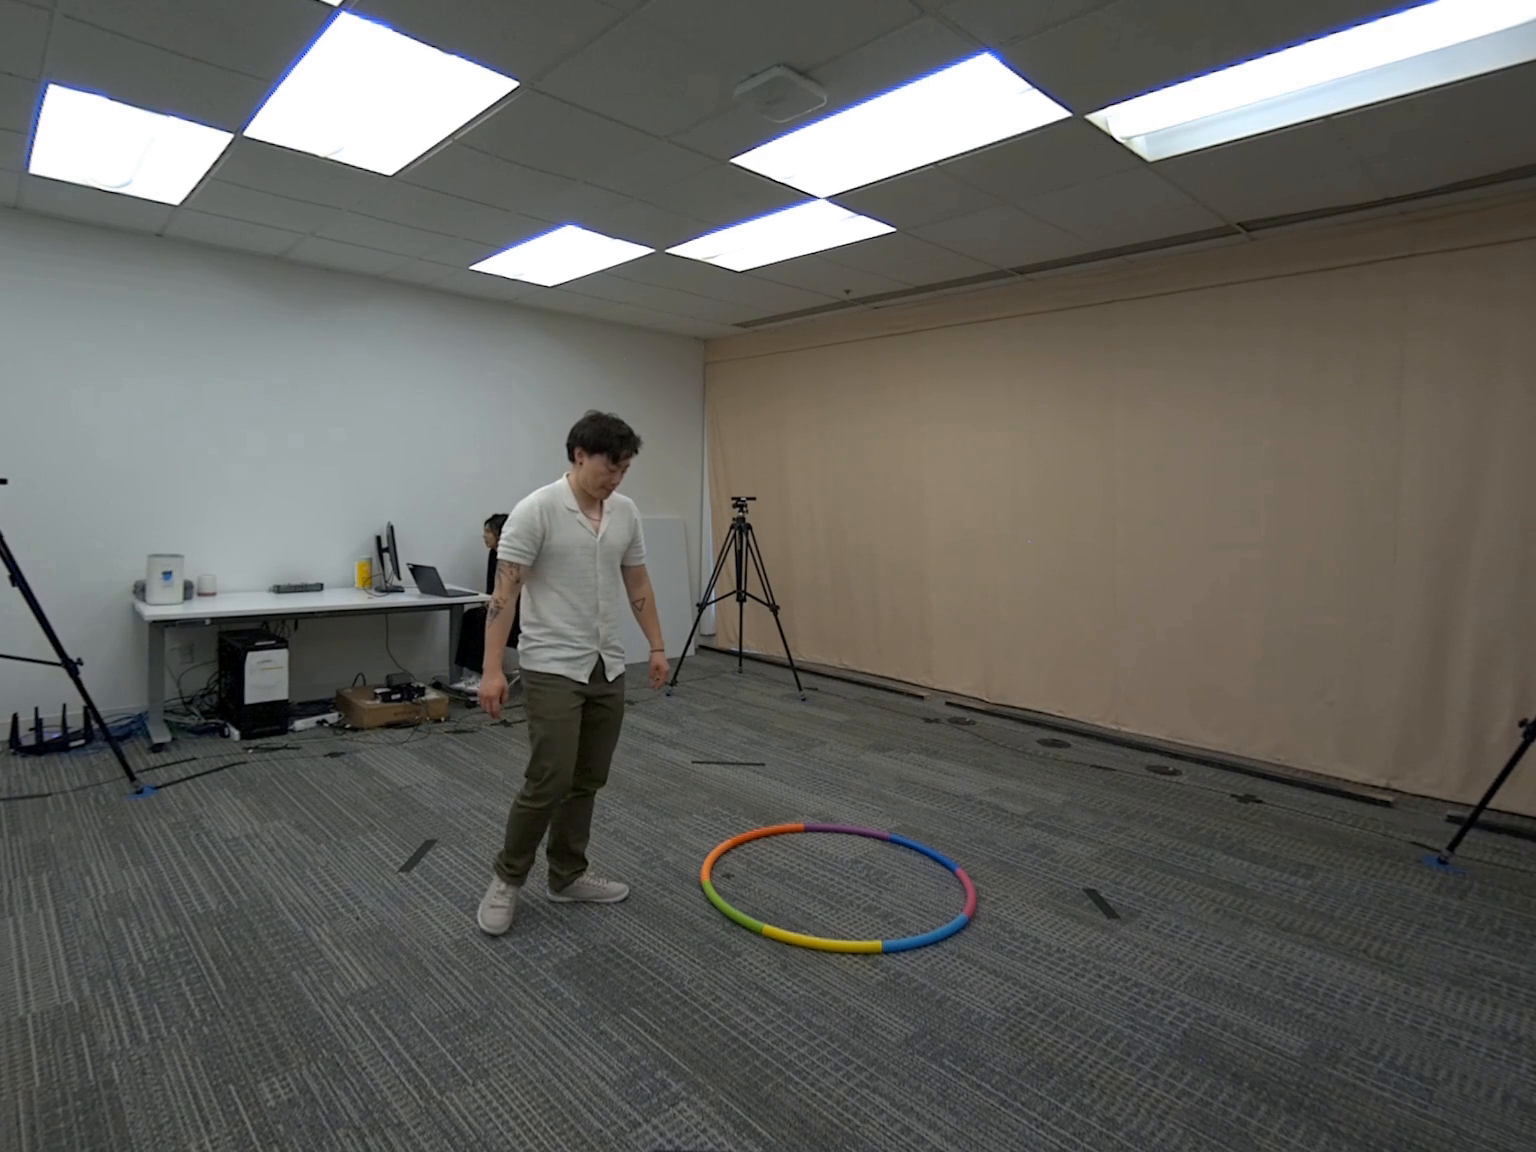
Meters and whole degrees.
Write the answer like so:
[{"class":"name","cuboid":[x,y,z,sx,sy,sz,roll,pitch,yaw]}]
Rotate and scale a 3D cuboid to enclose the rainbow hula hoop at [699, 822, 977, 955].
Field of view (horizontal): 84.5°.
[{"class":"rainbow hula hoop","cuboid":[0.239,1.091,3.071,0.978,0.035,0.982,1,5,-1]}]
